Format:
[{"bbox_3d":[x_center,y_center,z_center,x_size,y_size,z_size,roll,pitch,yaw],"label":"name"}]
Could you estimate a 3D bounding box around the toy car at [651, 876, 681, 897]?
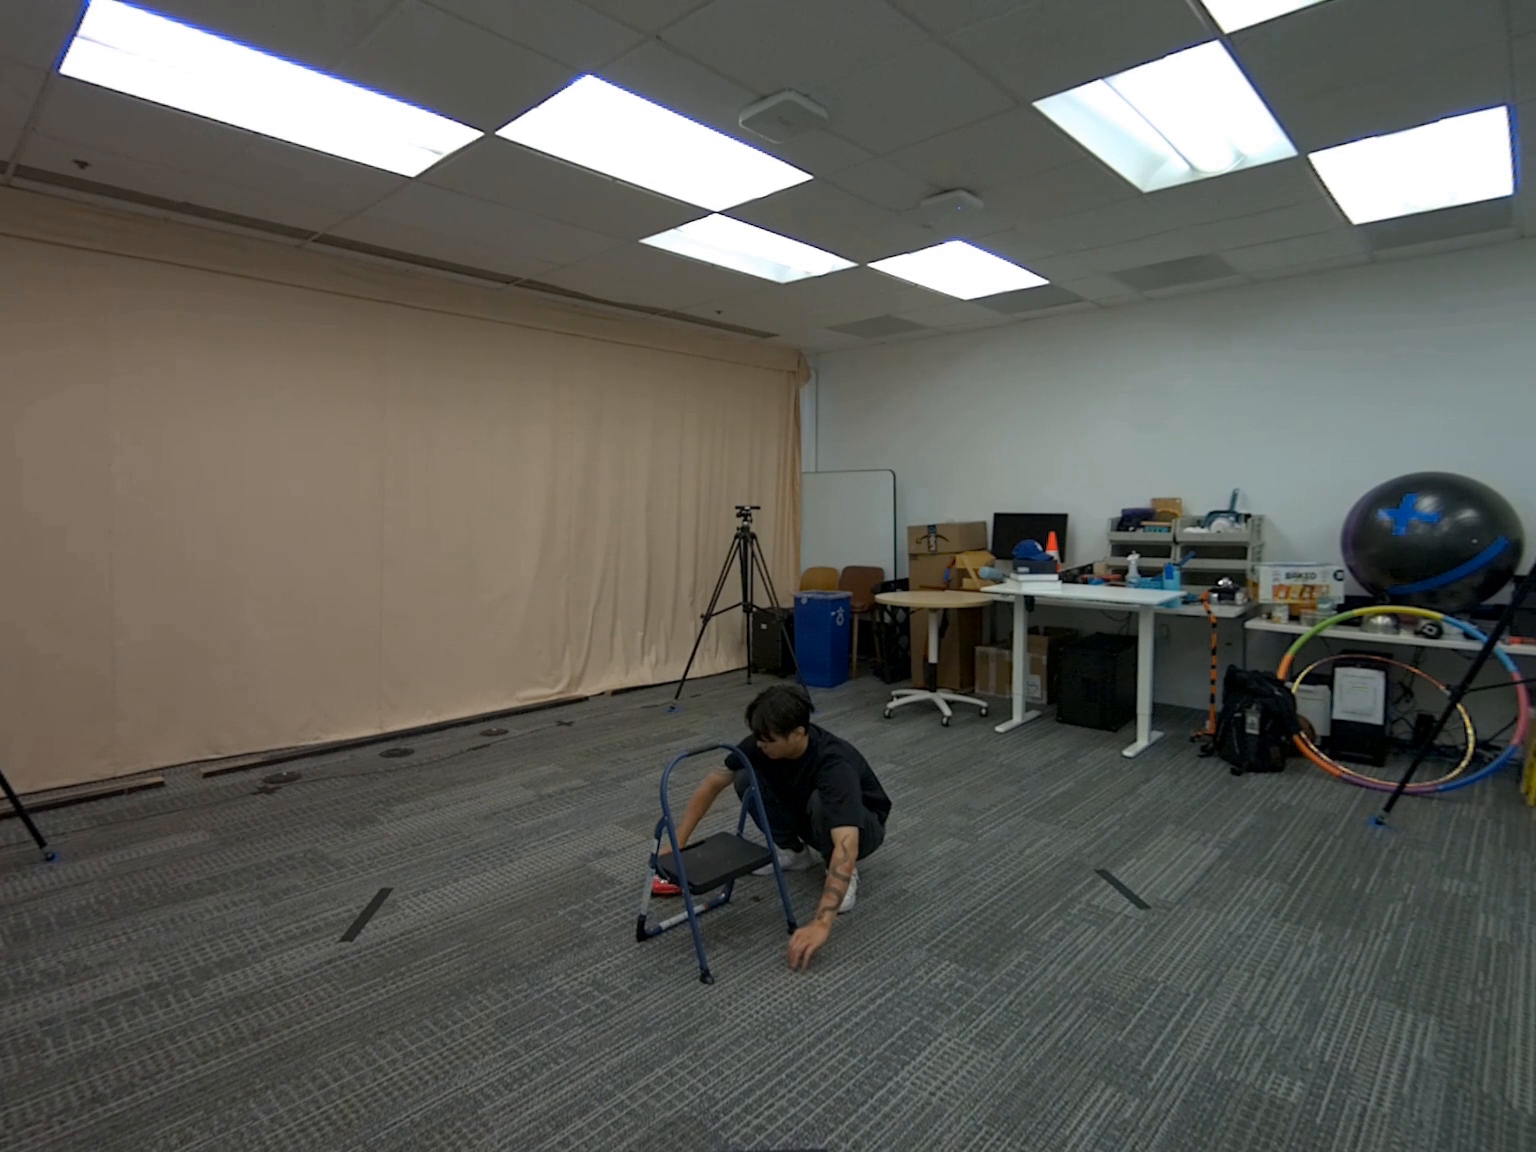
[{"bbox_3d":[-0.366,1.109,3.116,0.130,0.082,0.257,-2,15,-2],"label":"toy car"}]
